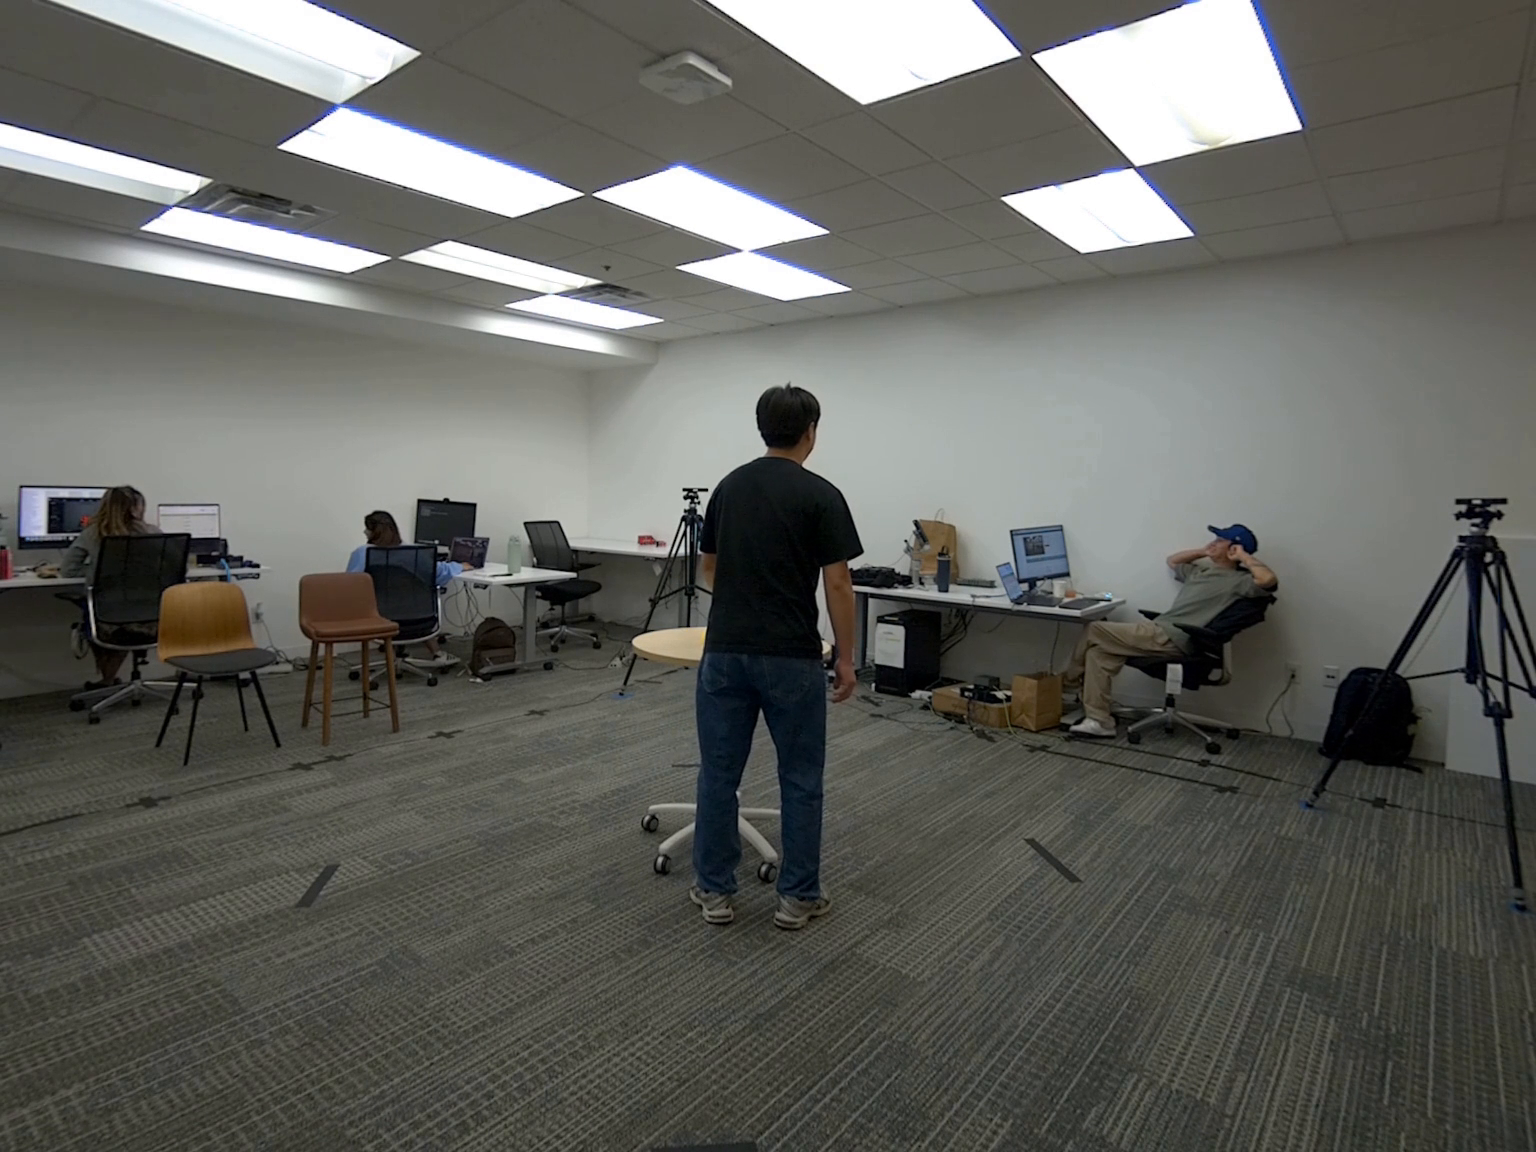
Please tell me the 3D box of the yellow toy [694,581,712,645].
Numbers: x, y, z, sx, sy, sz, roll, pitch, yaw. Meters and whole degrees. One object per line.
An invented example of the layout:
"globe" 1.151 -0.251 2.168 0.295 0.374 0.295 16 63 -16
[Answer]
"yellow toy" -0.157 0.142 3.300 0.209 0.230 0.189 2 4 21
